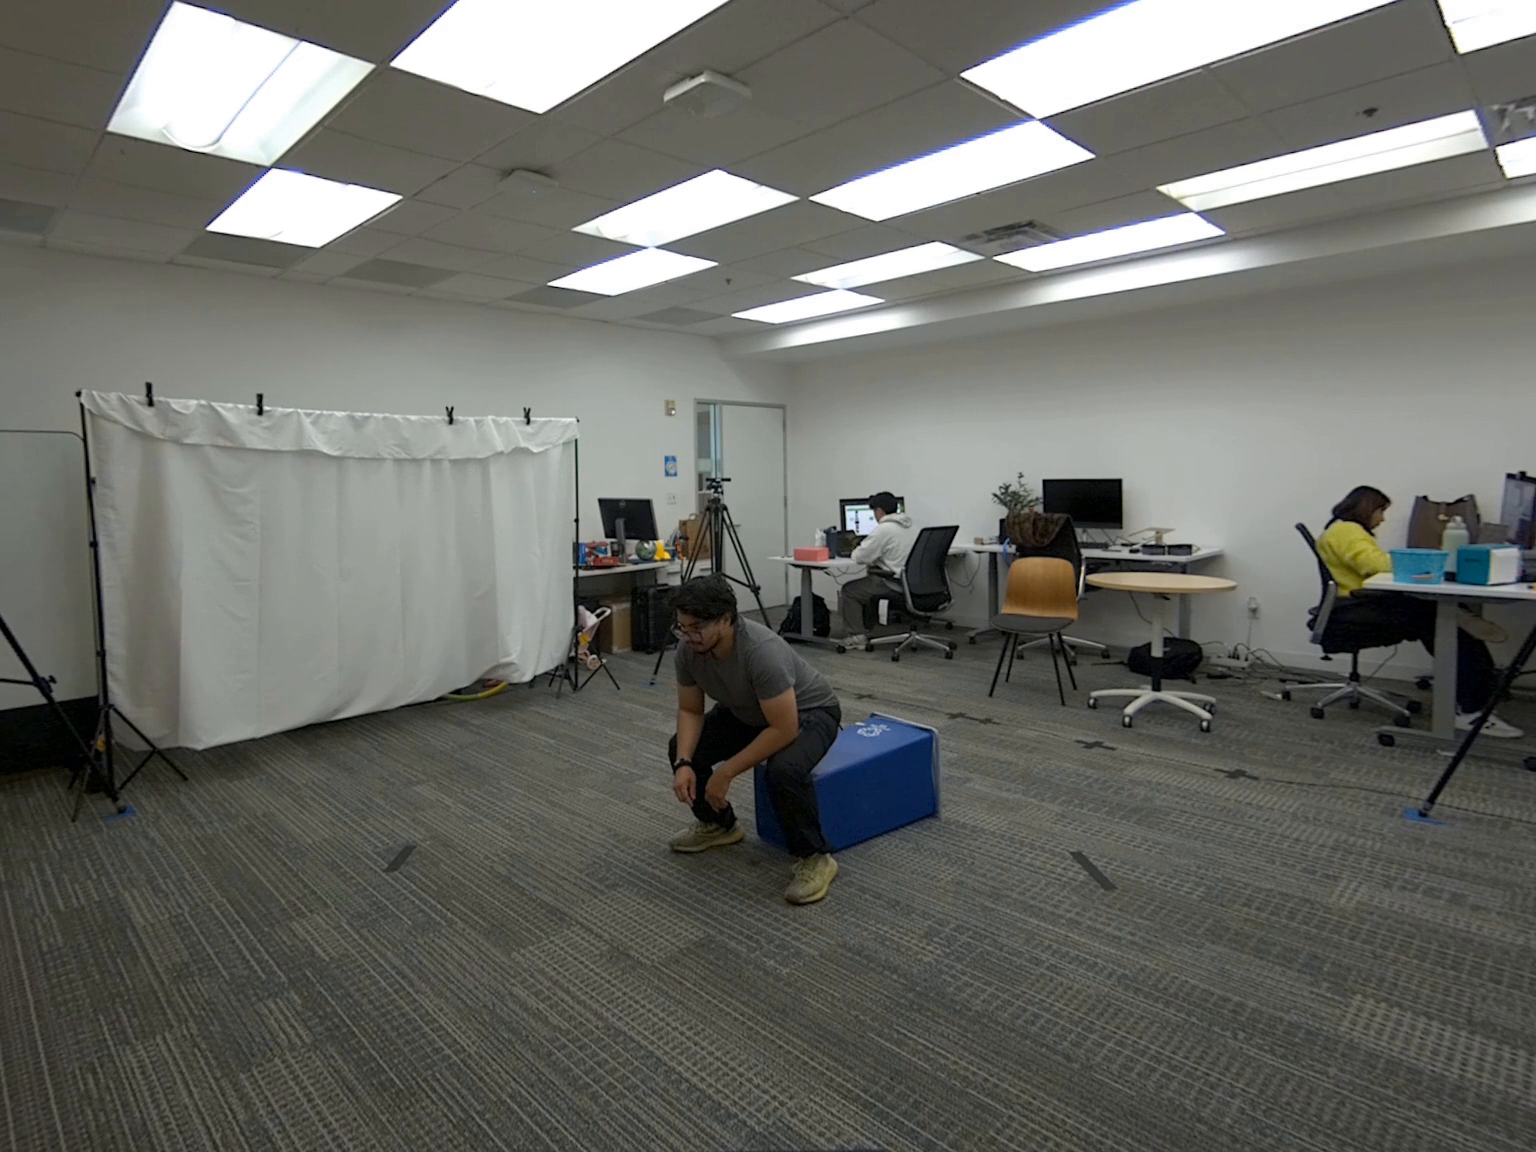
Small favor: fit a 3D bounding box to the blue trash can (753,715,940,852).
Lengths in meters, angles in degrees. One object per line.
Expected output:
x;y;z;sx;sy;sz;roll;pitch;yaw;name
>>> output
0.321;0.823;3.408;0.696;0.372;0.390;-8;8;-39;blue trash can
